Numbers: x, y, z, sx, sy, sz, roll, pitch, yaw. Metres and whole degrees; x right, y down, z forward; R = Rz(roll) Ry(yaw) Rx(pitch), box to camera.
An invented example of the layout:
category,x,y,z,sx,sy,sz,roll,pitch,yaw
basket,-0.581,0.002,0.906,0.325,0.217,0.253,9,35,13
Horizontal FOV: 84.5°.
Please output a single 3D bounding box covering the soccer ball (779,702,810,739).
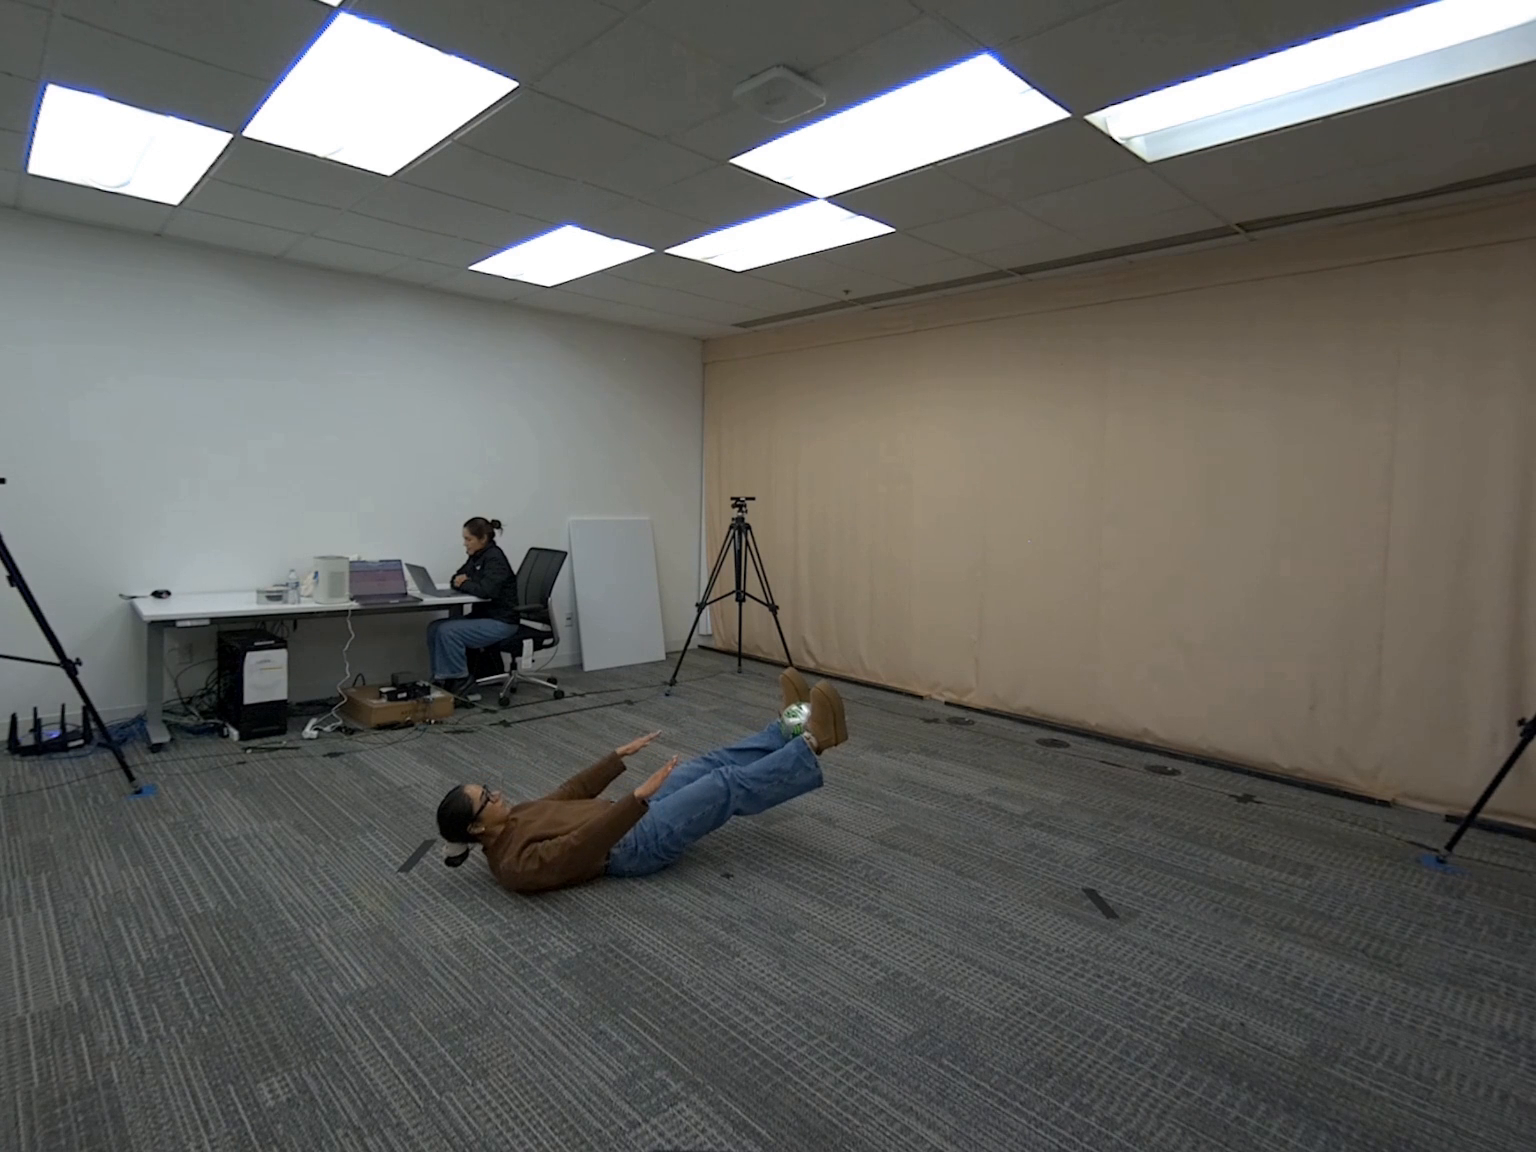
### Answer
category,x,y,z,sx,sy,sz,roll,pitch,yaw
soccer ball,0.129,0.614,3.457,0.187,0.187,0.188,1,4,-1
